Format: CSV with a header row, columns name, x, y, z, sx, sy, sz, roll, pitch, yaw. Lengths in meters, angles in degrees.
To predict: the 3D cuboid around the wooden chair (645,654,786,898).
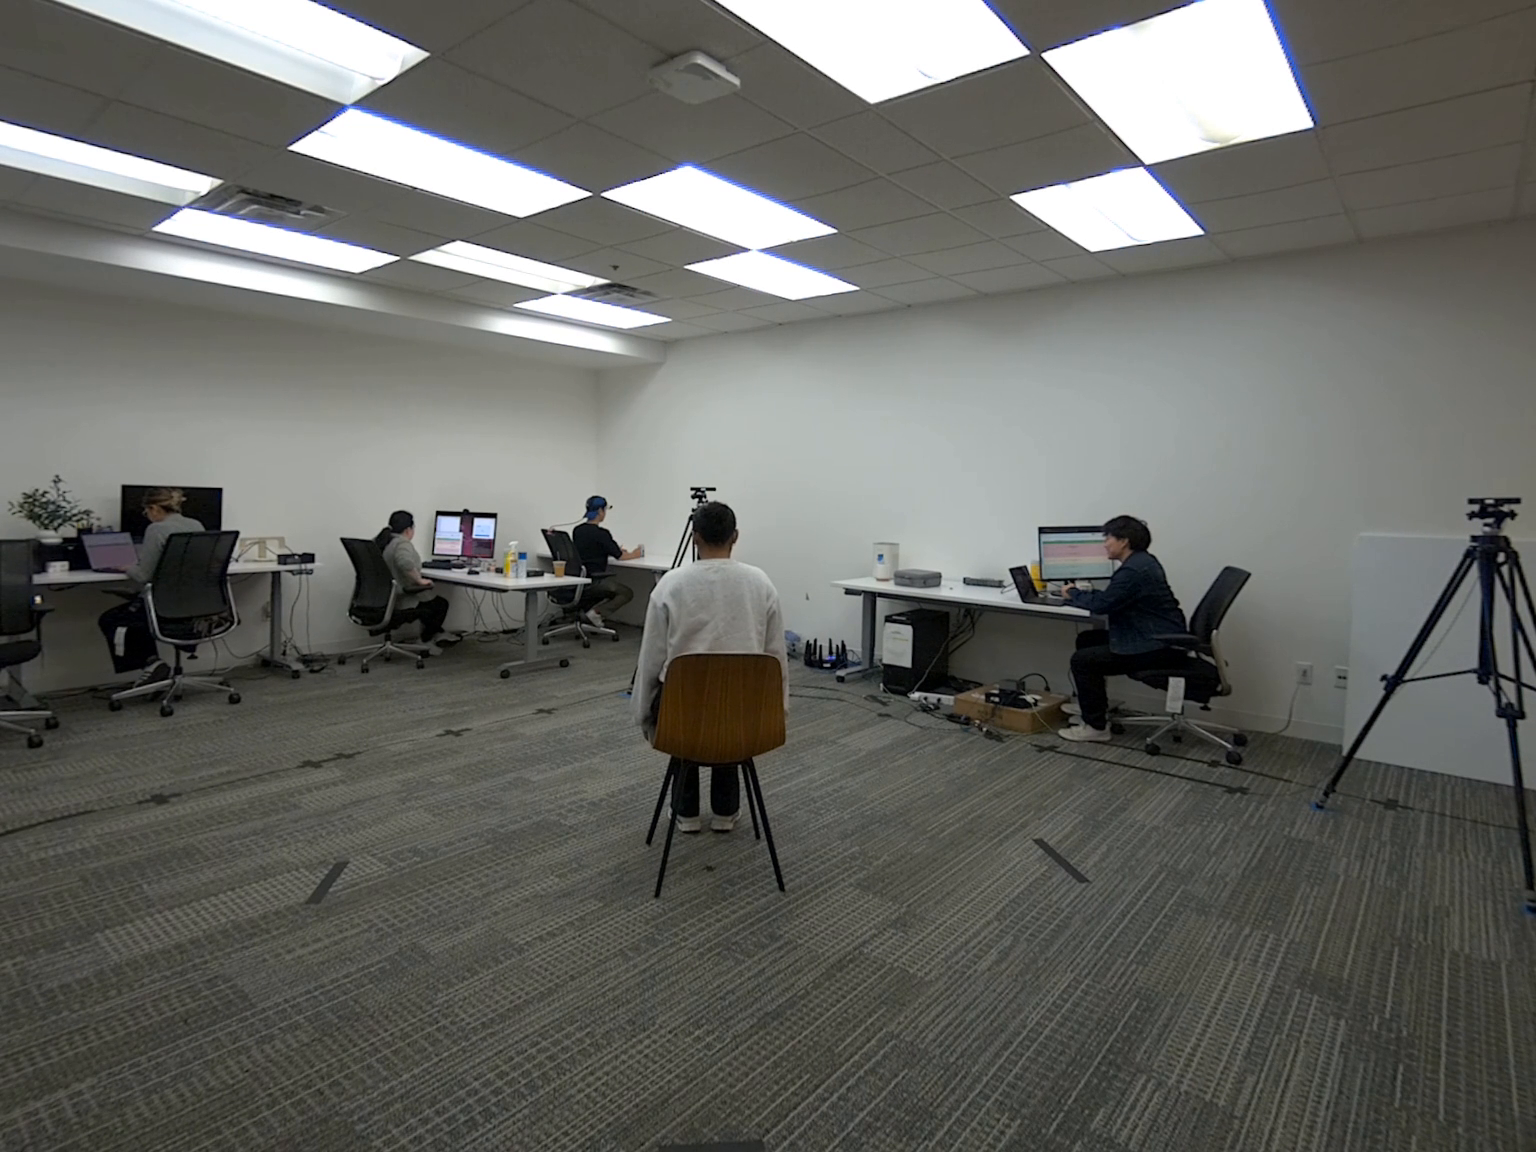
name,x,y,z,sx,sy,sz,roll,pitch,yaw
wooden chair,-0.207,0.641,3.110,0.473,0.872,0.532,0,7,-11
